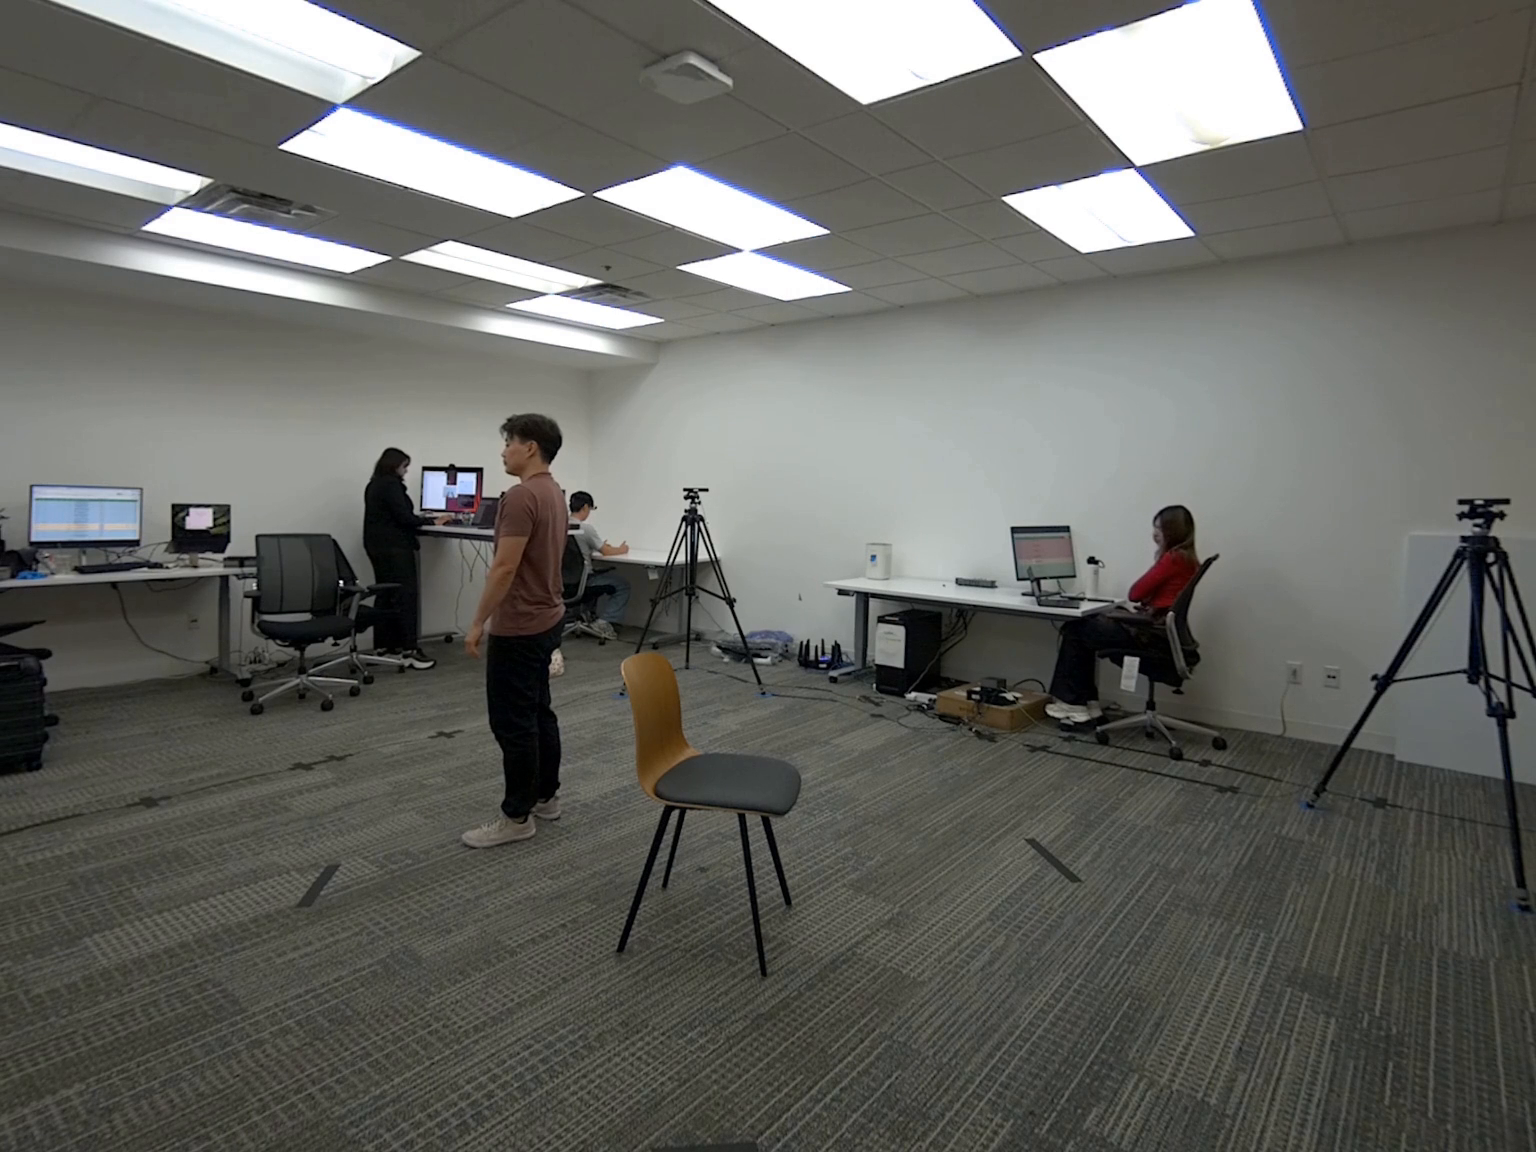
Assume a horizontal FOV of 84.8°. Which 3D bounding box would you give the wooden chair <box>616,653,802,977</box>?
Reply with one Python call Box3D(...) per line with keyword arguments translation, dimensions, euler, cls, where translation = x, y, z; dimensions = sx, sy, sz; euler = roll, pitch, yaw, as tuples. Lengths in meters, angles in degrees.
Box3D(translation=(-0.174, 0.686, 2.669), dimensions=(0.531, 0.876, 0.472), euler=(-2, 2, 13), cls="wooden chair")
